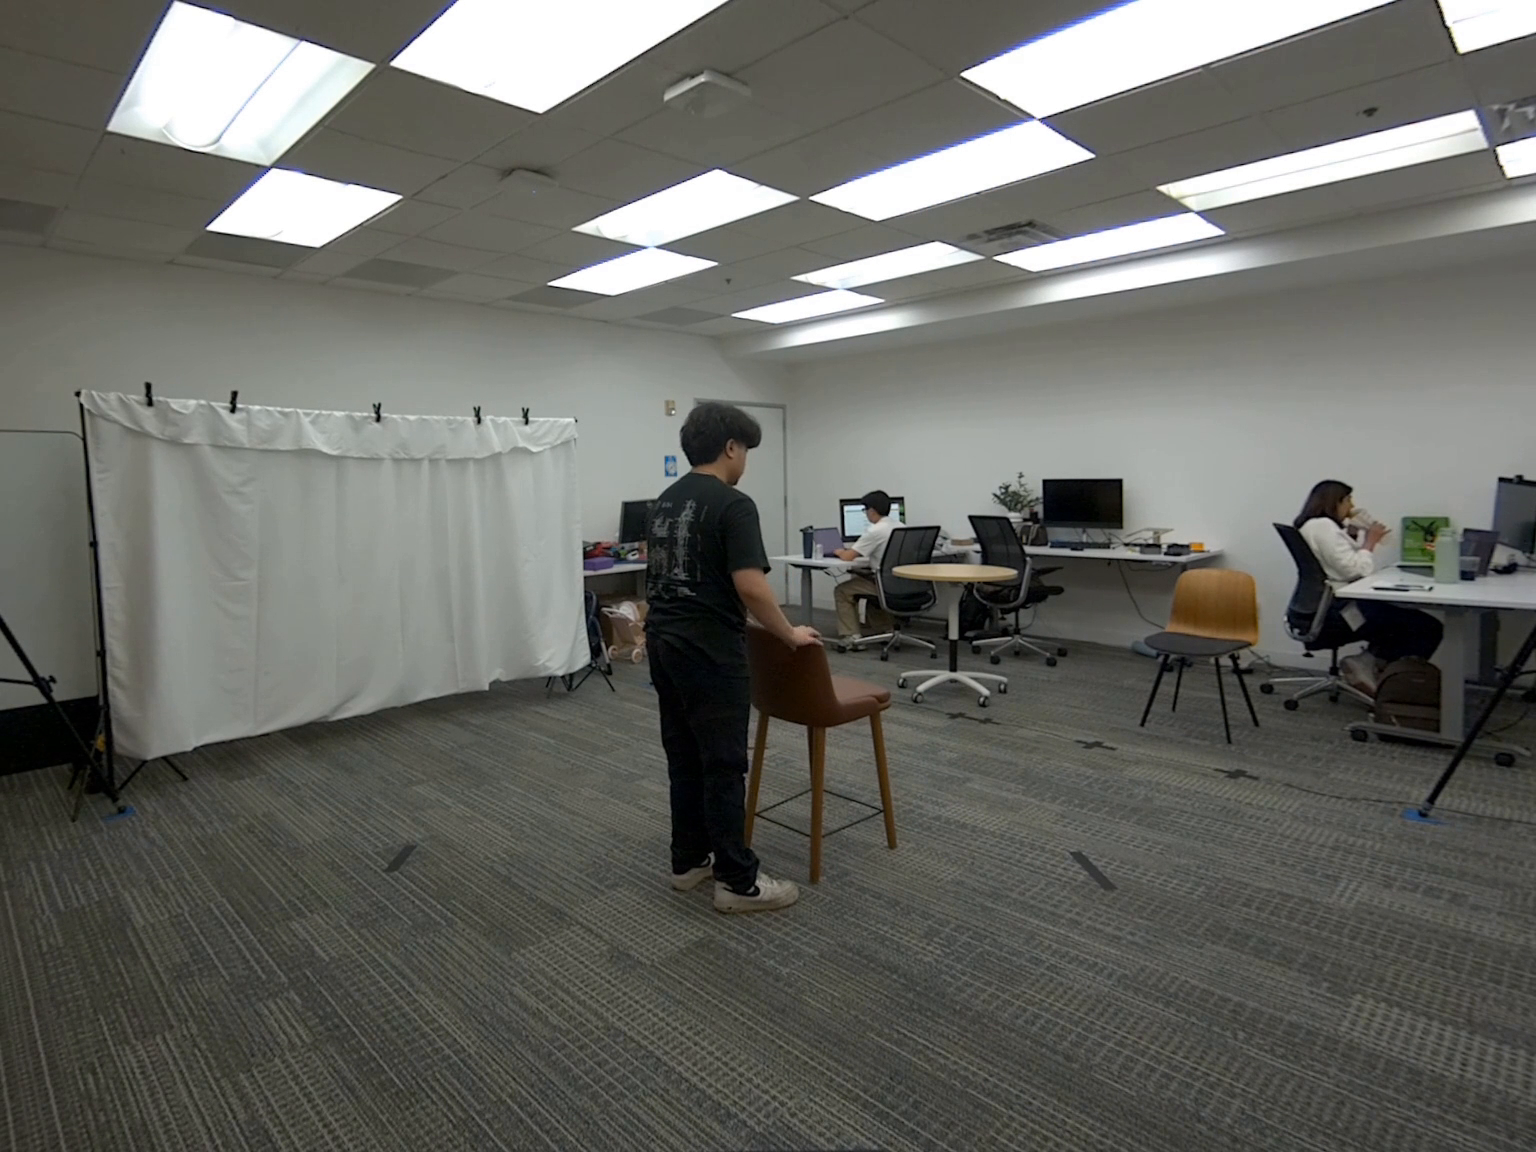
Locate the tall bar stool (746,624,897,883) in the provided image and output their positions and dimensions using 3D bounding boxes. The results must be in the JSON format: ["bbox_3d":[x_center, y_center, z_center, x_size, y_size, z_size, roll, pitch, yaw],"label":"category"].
[{"bbox_3d":[0.174,0.592,3.184,0.456,0.885,0.470,-7,8,-43],"label":"tall bar stool"}]
